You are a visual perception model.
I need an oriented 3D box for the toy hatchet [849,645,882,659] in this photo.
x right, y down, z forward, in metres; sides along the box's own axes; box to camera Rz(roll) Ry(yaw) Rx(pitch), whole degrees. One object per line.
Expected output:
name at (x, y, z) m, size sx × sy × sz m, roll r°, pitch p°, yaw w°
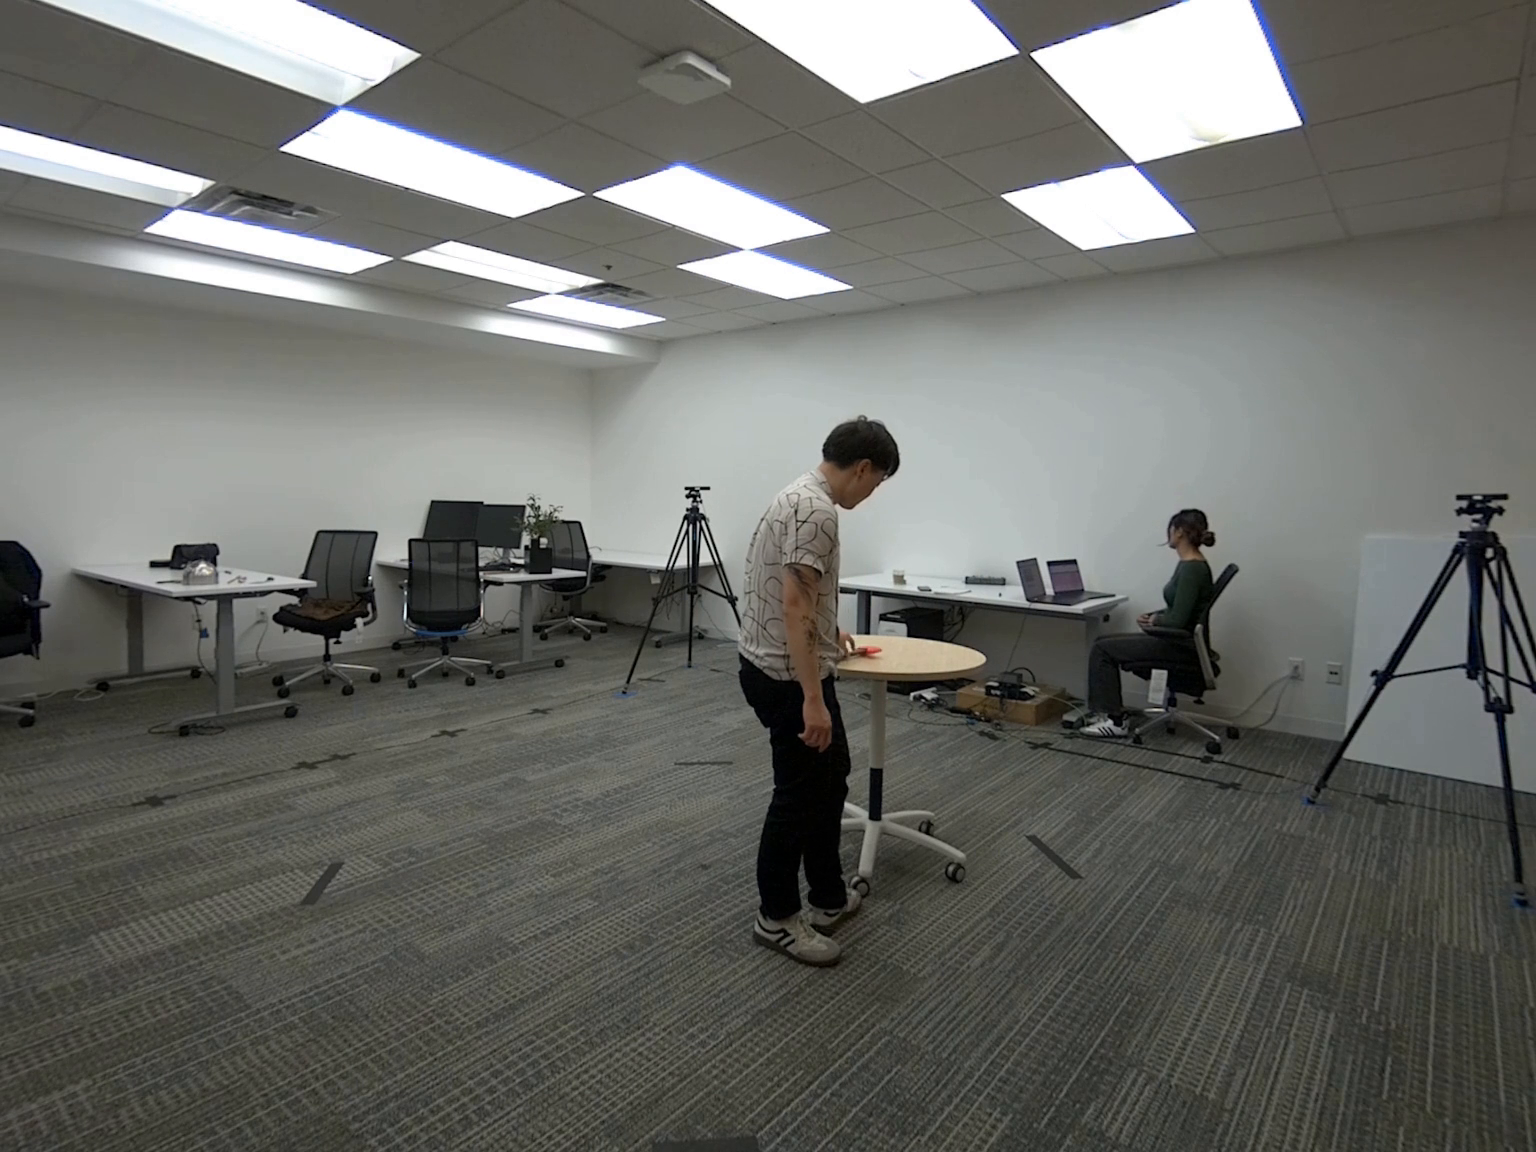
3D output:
toy hatchet at (0.320, 0.281, 3.043) m, size 0.134 × 0.029 × 0.264 m, roll -7°, pitch 1°, yaw 28°
